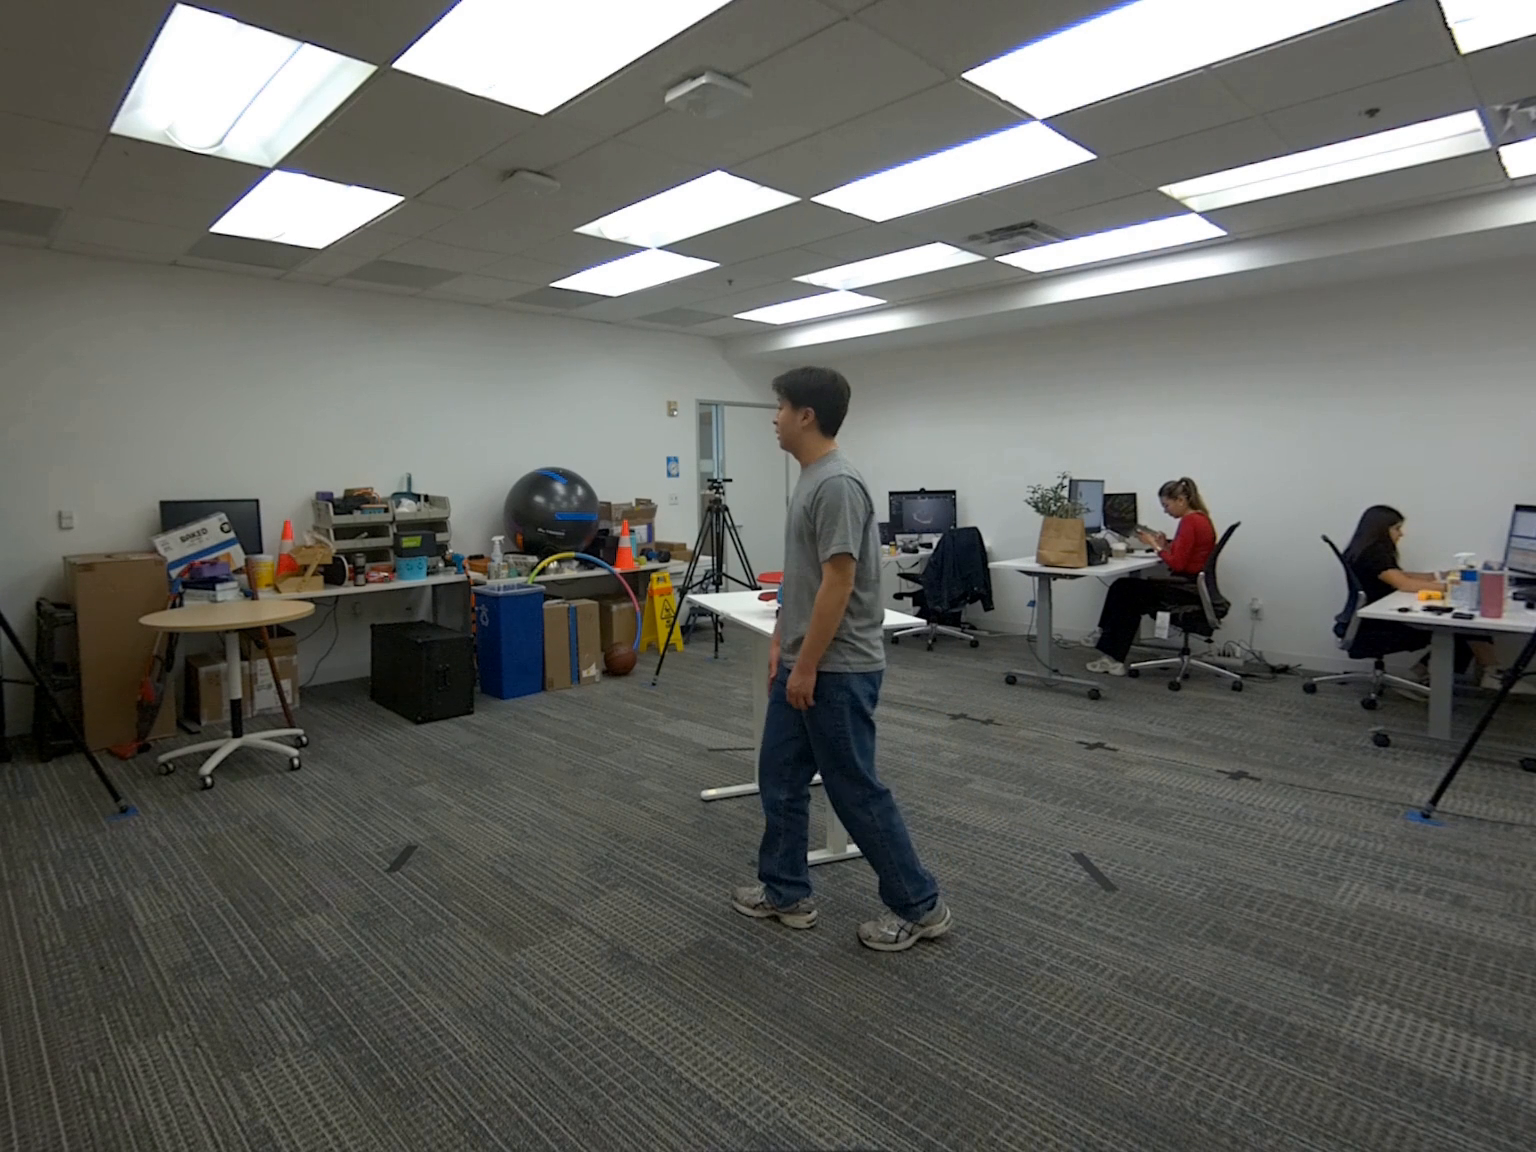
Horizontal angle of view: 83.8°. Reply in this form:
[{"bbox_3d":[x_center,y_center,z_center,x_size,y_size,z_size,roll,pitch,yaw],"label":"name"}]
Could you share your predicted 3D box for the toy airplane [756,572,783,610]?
[{"bbox_3d":[0.107,0.067,3.232,0.247,0.156,0.264,-4,6,-17],"label":"toy airplane"}]
